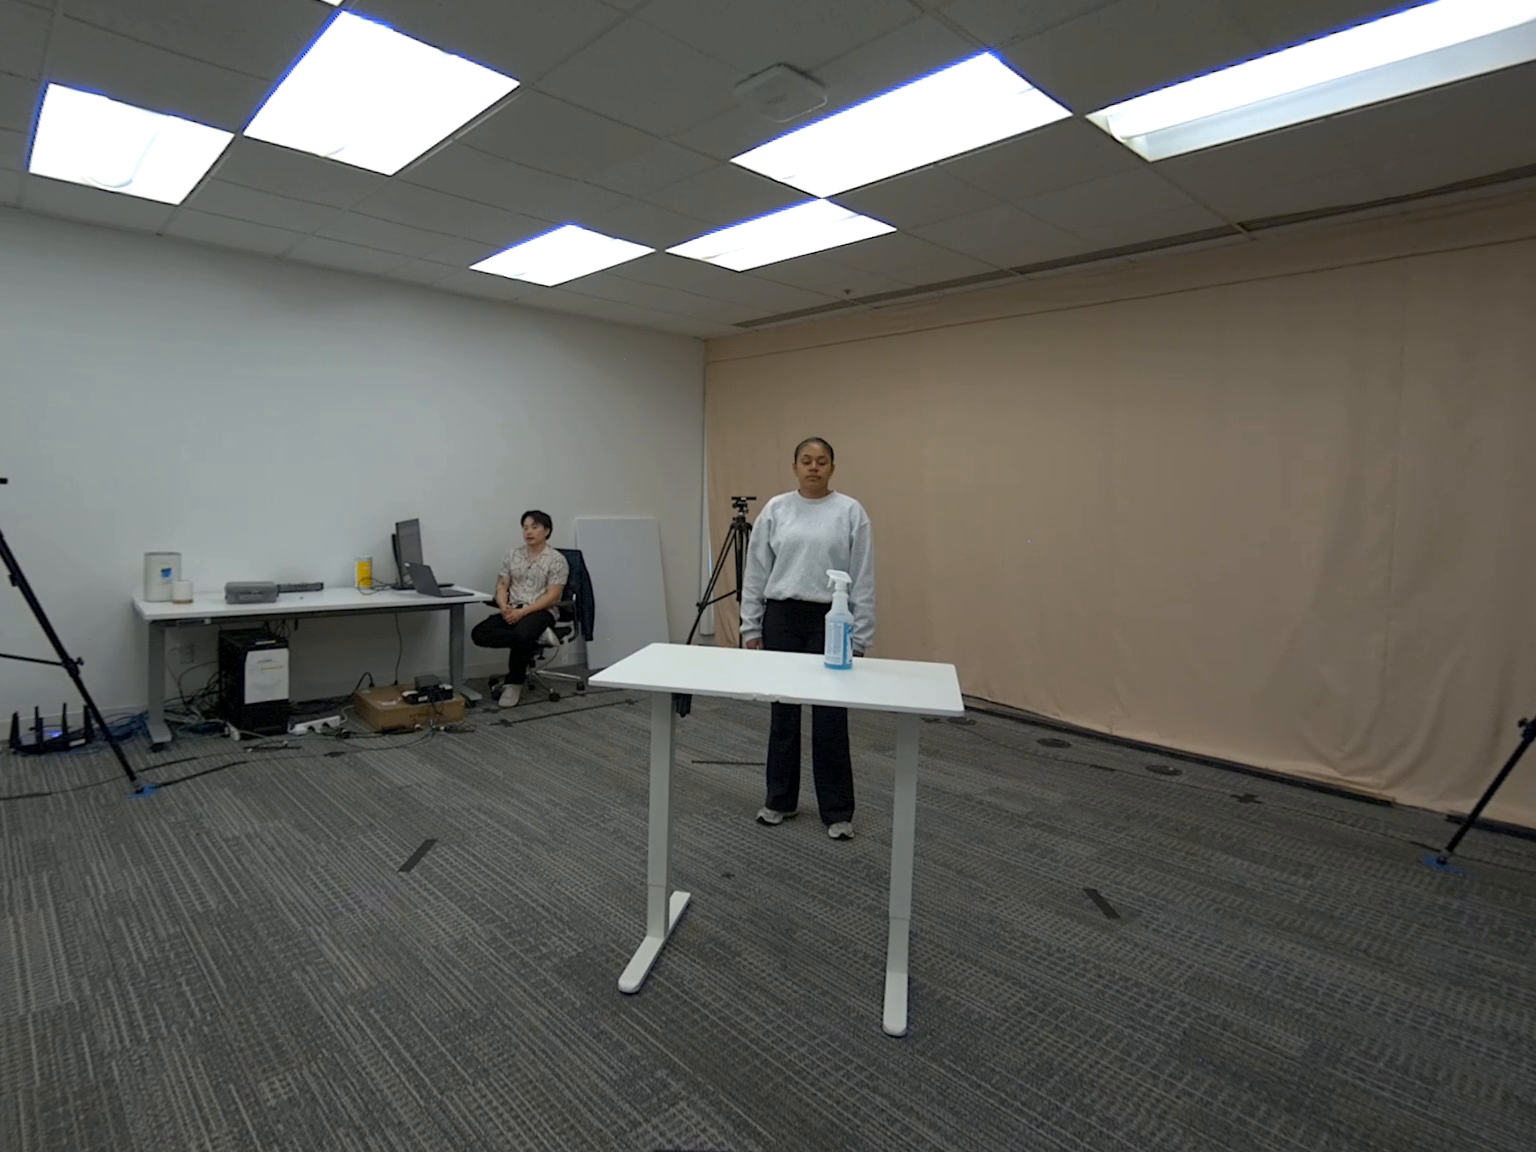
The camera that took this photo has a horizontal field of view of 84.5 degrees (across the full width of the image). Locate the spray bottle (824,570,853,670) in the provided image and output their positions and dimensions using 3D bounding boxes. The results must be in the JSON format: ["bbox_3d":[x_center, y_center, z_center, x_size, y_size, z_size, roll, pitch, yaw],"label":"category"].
[{"bbox_3d":[0.211,0.137,2.578,0.086,0.297,0.091,0,3,-20],"label":"spray bottle"}]
